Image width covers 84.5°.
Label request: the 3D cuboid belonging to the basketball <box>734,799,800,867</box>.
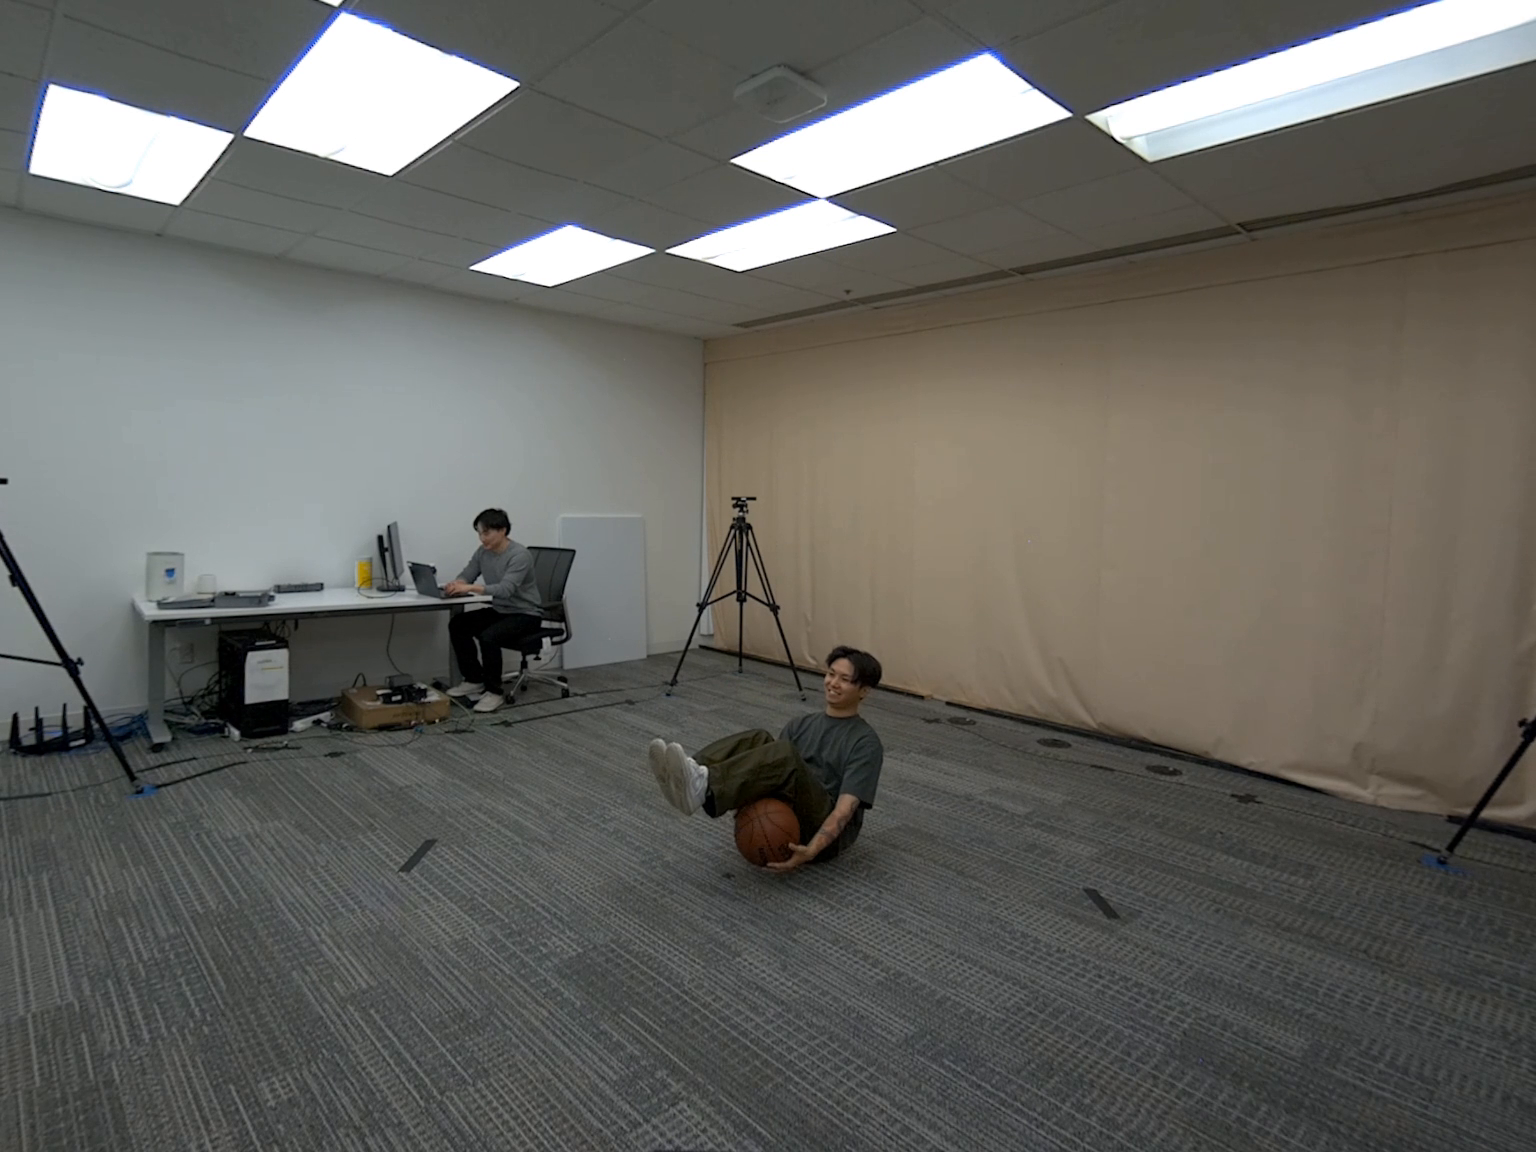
[{"bbox_3d":[-0.023,0.916,3.038,0.236,0.235,0.237,1,4,-1],"label":"basketball"}]
